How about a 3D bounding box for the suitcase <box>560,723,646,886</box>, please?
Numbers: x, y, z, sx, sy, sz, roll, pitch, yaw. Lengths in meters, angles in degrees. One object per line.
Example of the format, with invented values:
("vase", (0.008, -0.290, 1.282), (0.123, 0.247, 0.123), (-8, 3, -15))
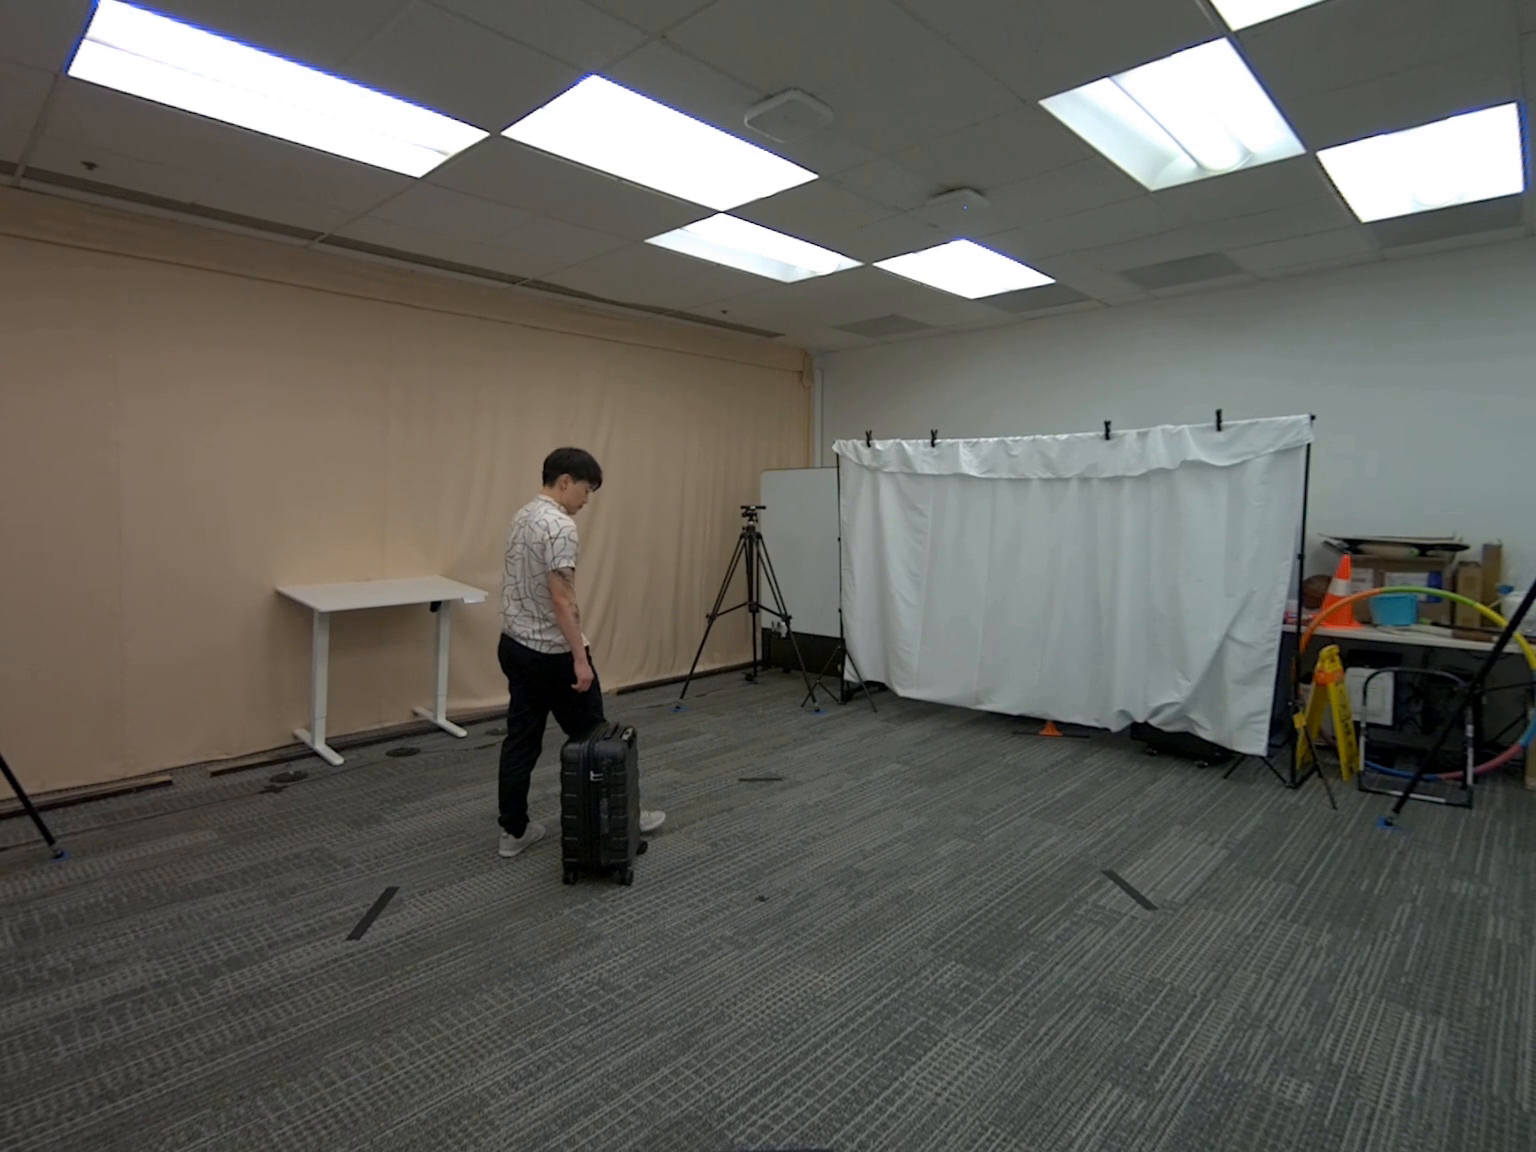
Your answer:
("suitcase", (-0.635, 0.857, 3.222), (0.249, 0.548, 0.375), (-2, 5, 3))
